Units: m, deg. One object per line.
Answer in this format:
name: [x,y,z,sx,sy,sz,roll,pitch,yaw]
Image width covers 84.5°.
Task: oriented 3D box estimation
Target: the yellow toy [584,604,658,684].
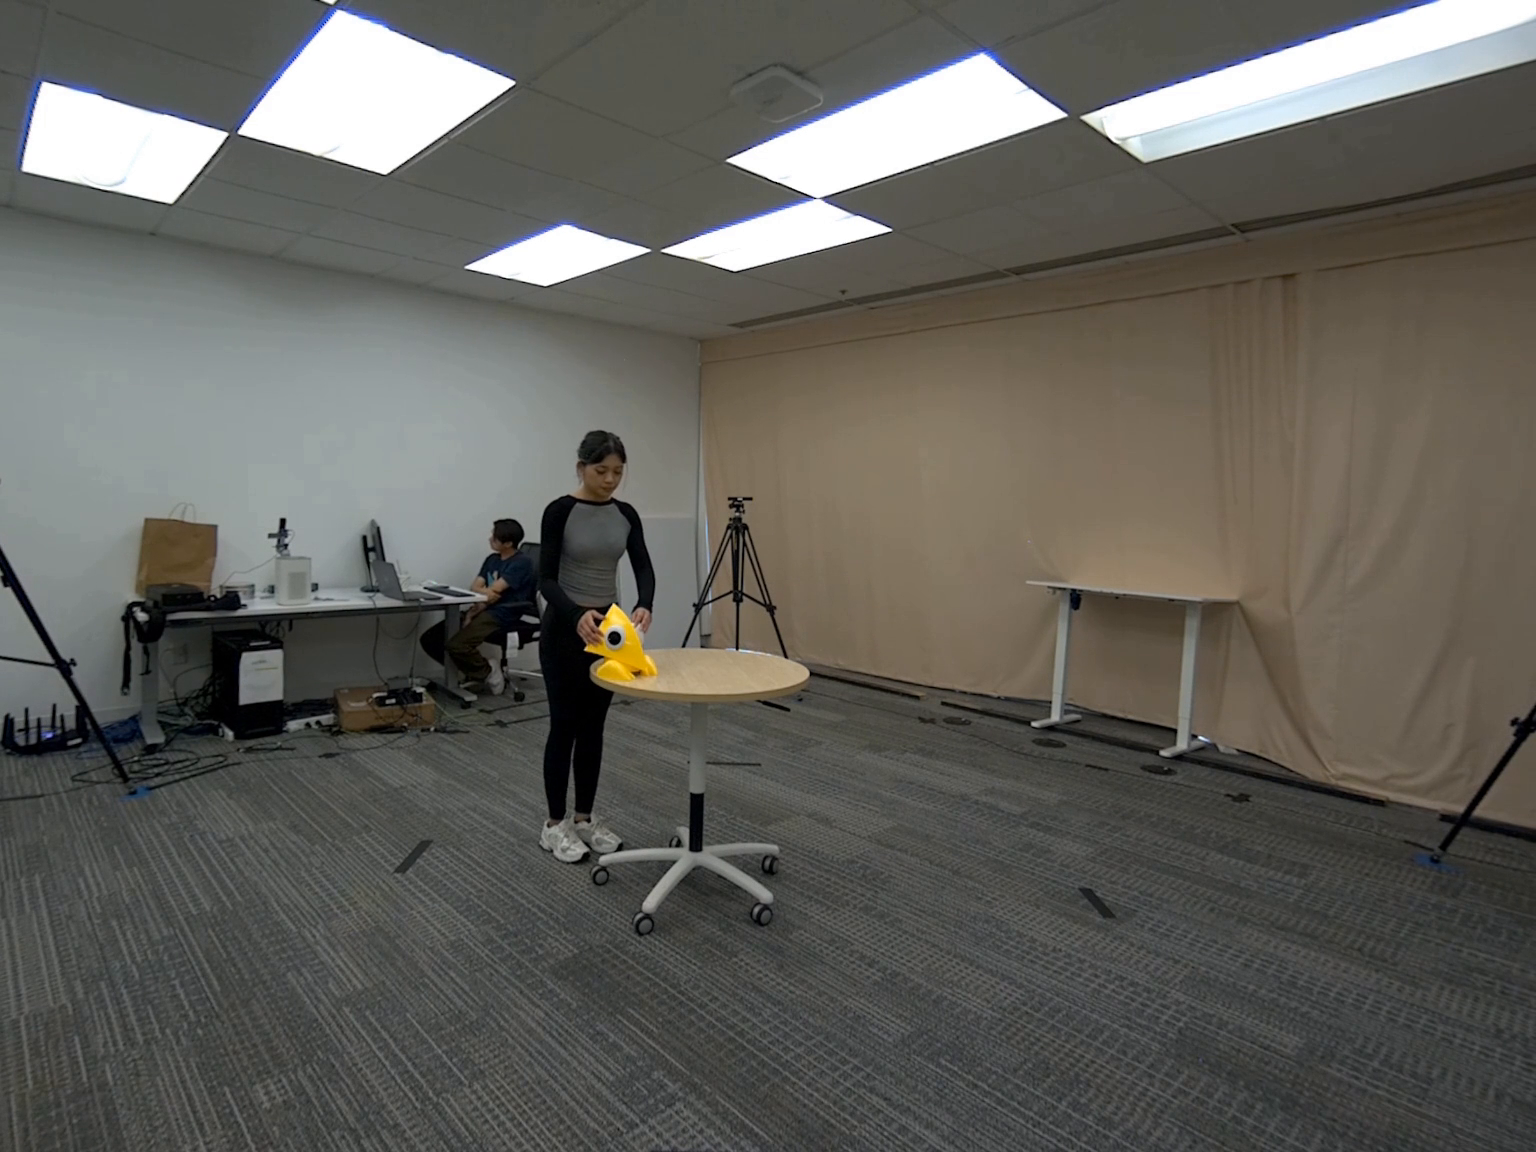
yellow toy: [-0.485,0.216,2.825,0.198,0.230,0.200,5,5,36]
